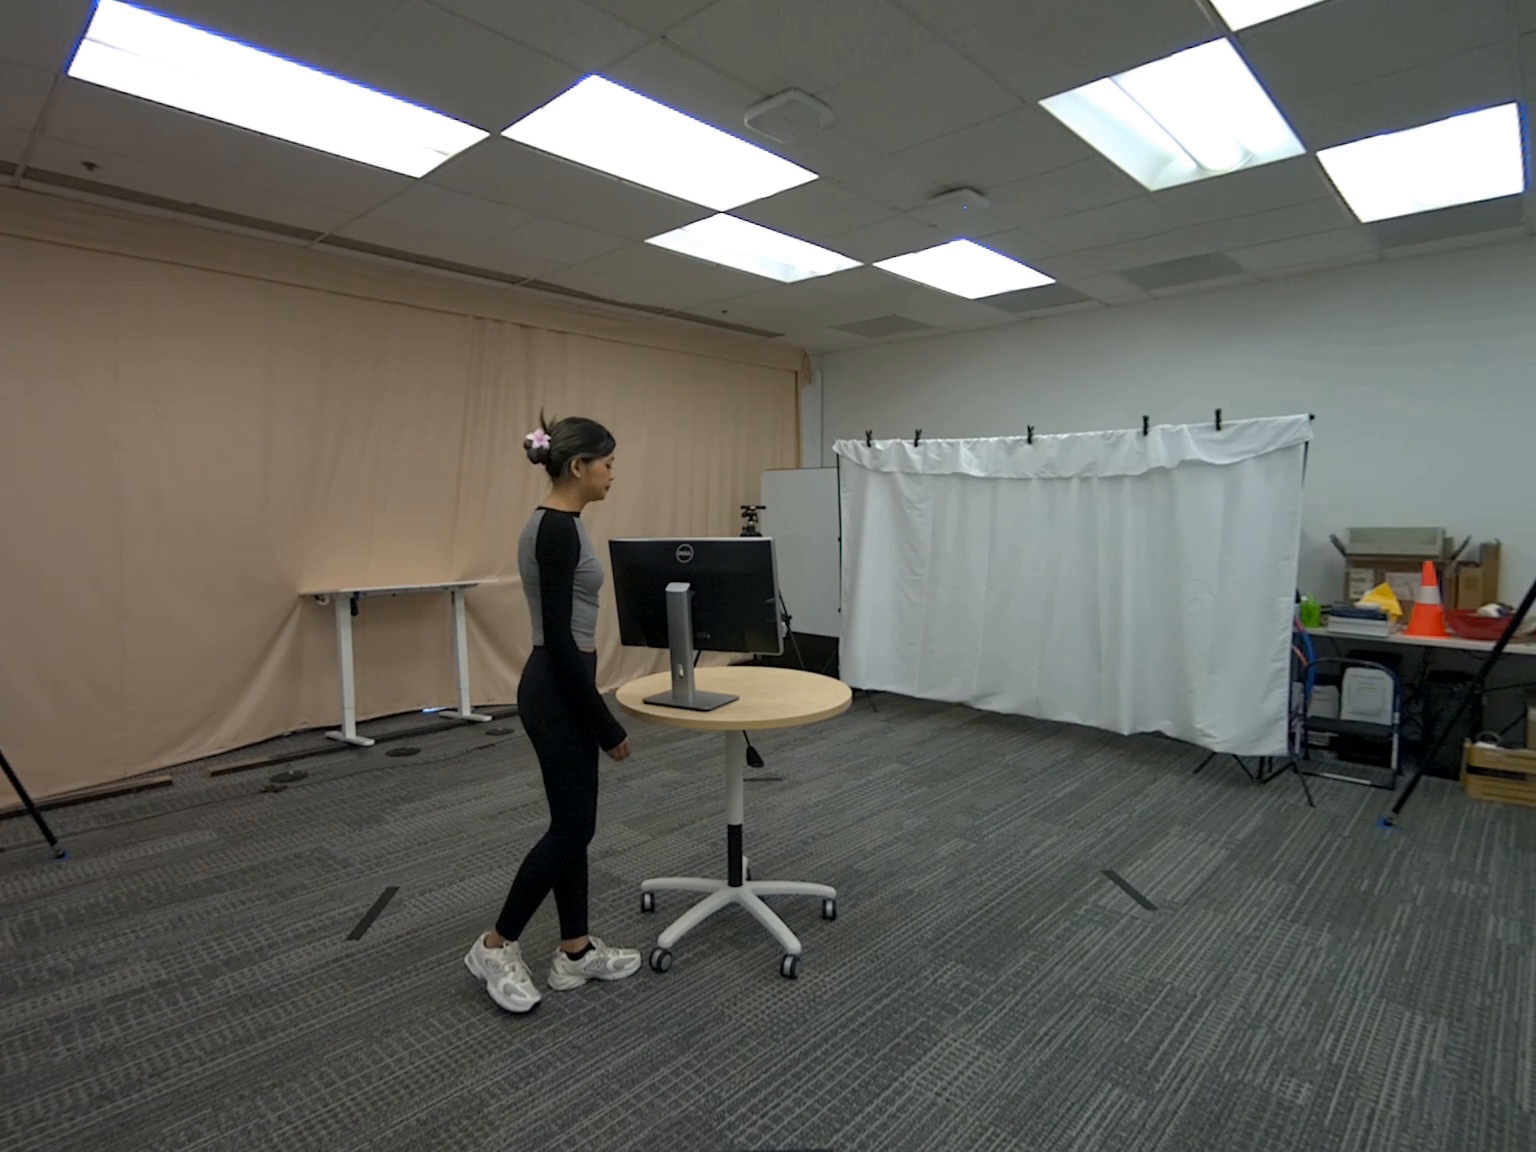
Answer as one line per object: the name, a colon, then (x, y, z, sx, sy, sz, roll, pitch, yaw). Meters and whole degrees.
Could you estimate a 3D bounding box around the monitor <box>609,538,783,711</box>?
monitor: (-0.246, 0.146, 2.593, 0.552, 0.522, 0.183, 0, 2, 23)
